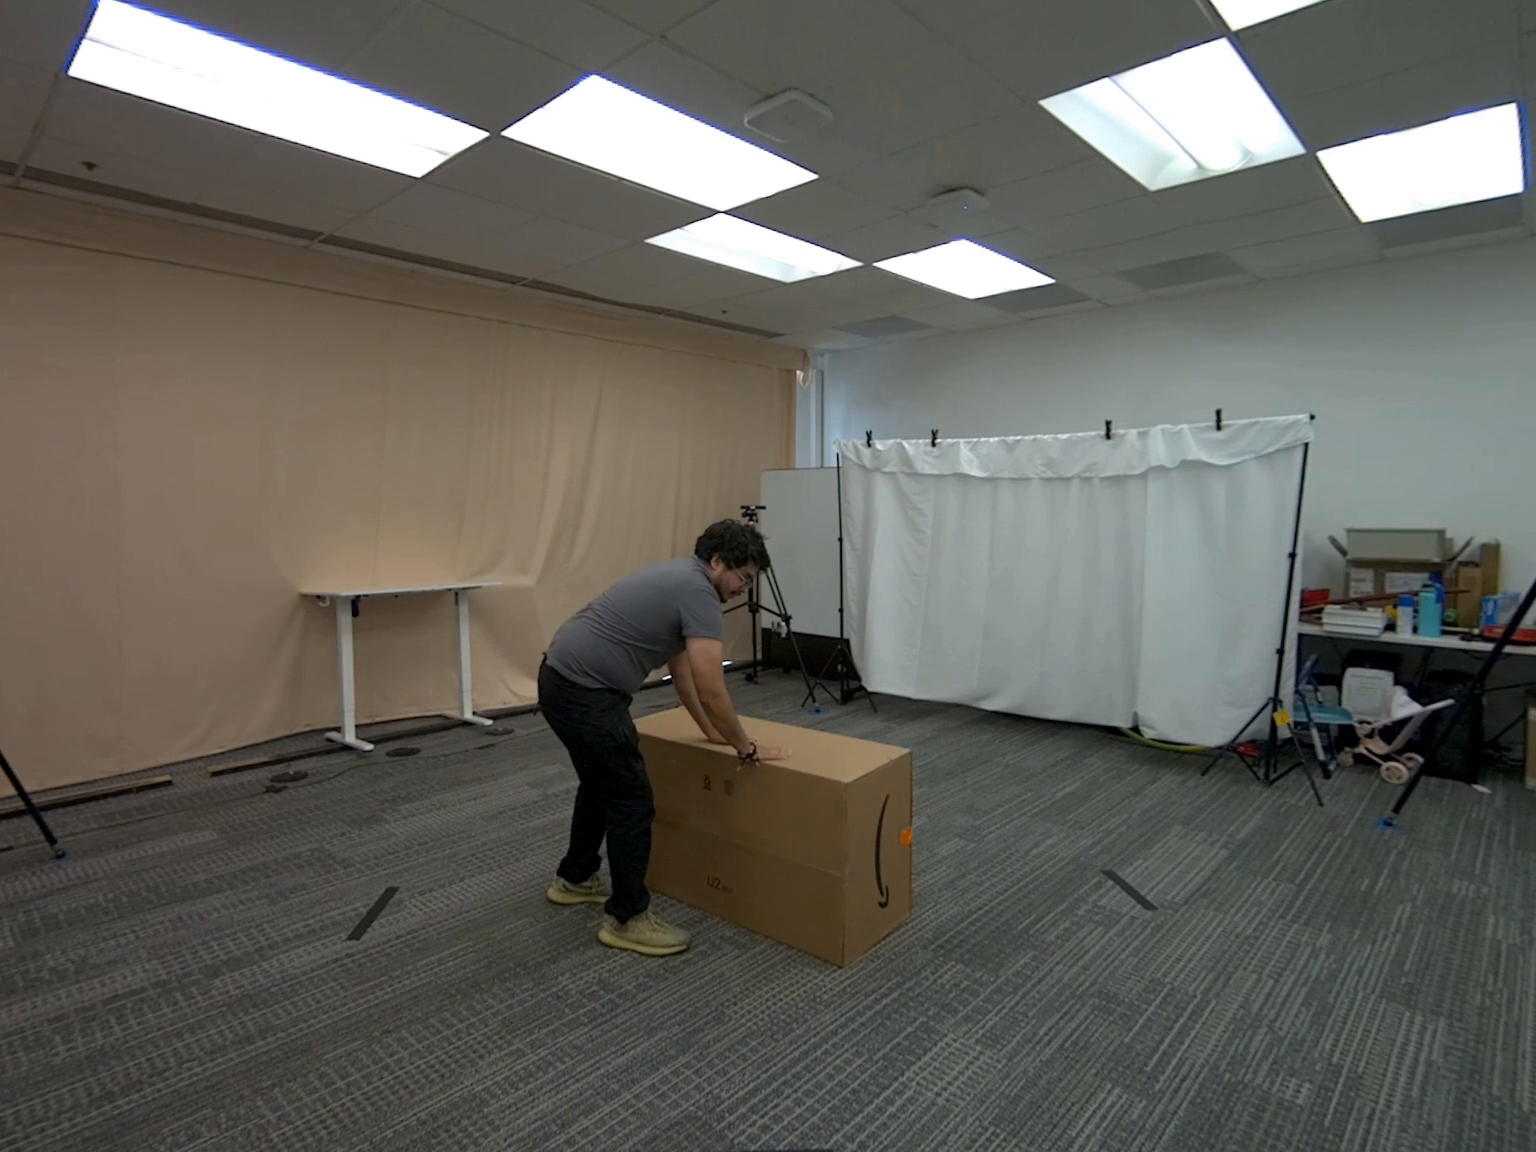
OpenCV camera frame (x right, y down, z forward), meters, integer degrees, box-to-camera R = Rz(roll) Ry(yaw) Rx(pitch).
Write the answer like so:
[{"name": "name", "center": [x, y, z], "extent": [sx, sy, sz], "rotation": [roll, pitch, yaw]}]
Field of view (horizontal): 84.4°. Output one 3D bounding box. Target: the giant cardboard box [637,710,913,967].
[{"name": "giant cardboard box", "center": [-0.042, 0.854, 3.004], "extent": [1.059, 0.576, 0.413], "rotation": [3, 5, 39]}]
